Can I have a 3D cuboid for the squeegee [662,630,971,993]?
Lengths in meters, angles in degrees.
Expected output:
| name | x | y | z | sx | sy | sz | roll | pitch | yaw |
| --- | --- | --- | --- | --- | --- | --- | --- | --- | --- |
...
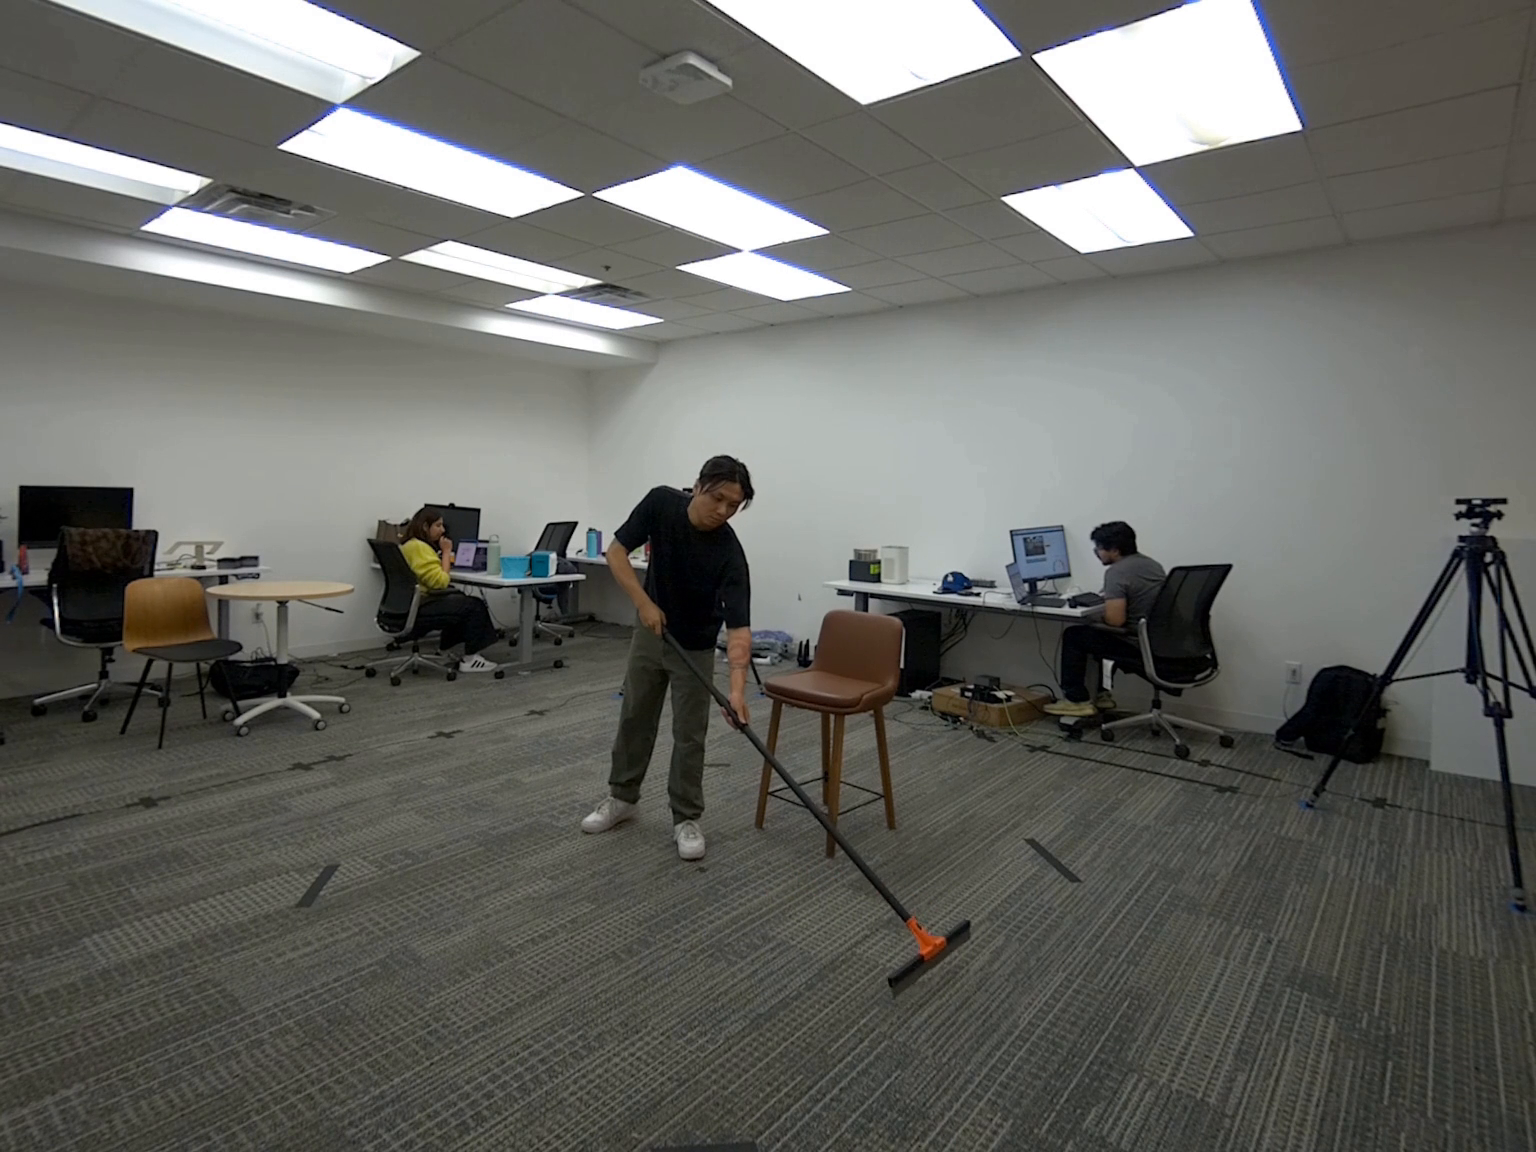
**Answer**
| name | x | y | z | sx | sy | sz | roll | pitch | yaw |
| --- | --- | --- | --- | --- | --- | --- | --- | --- | --- |
| squeegee | -0.008 | 0.557 | 2.769 | 0.424 | 0.052 | 1.597 | -5 | 41 | -48 |
